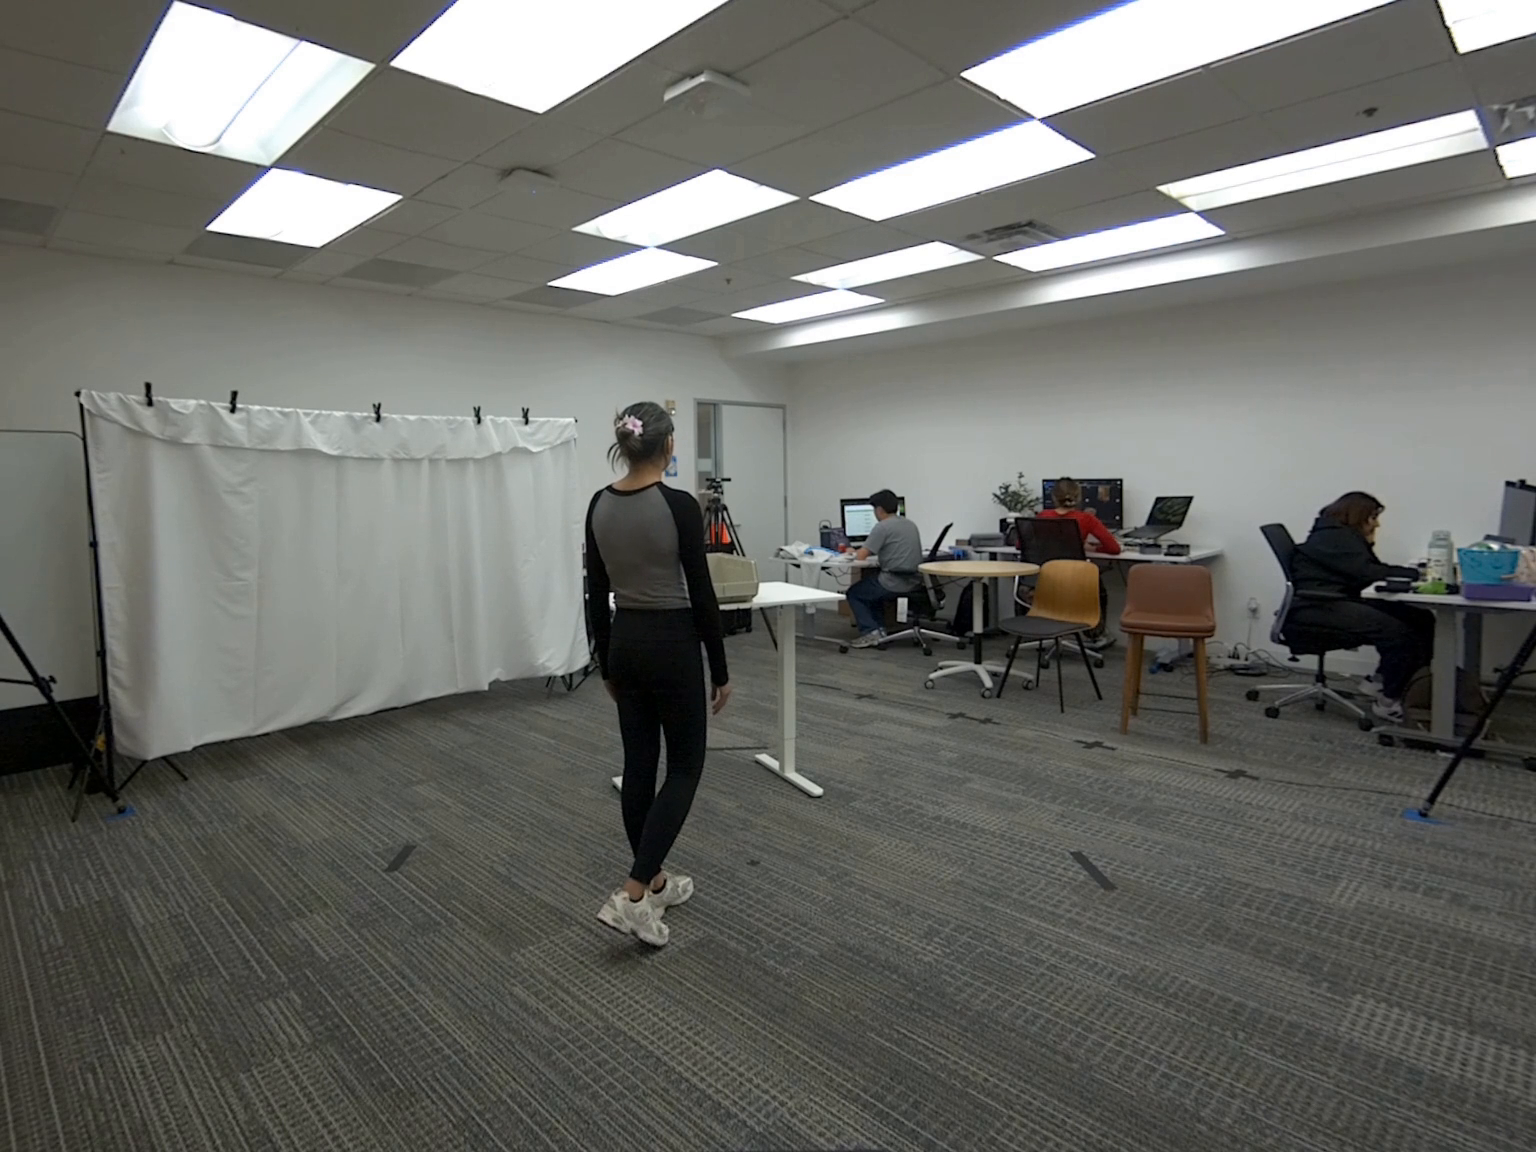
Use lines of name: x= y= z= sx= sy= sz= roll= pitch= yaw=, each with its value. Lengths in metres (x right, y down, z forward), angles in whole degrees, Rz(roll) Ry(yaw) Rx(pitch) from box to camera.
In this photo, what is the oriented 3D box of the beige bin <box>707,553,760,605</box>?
beige bin: x=-0.306 y=0.019 z=3.597 sx=0.413 sy=0.188 sz=0.387 roll=-4 pitch=6 yaw=-26
